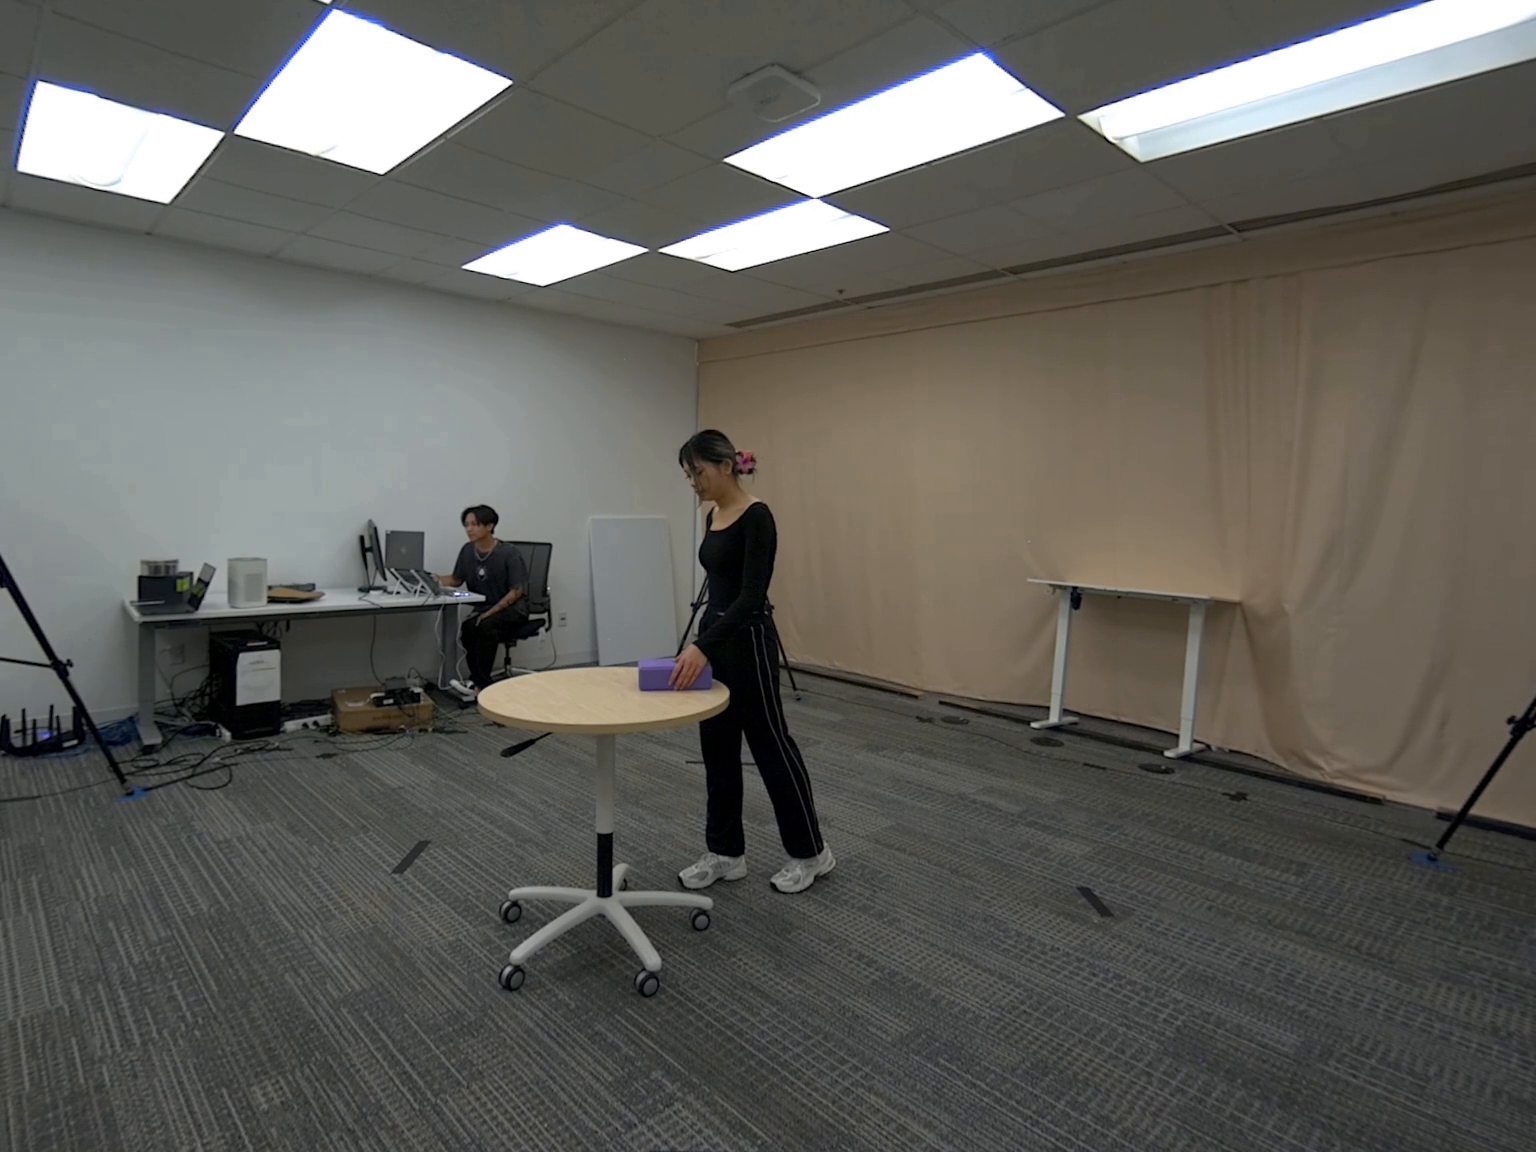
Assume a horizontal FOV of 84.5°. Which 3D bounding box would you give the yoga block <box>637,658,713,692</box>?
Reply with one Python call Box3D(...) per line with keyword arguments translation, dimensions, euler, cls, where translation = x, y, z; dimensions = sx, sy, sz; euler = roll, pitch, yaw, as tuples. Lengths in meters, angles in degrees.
Box3D(translation=(-0.310, 0.317, 2.692), dimensions=(0.229, 0.076, 0.150), euler=(1, 5, -4), cls="yoga block")
